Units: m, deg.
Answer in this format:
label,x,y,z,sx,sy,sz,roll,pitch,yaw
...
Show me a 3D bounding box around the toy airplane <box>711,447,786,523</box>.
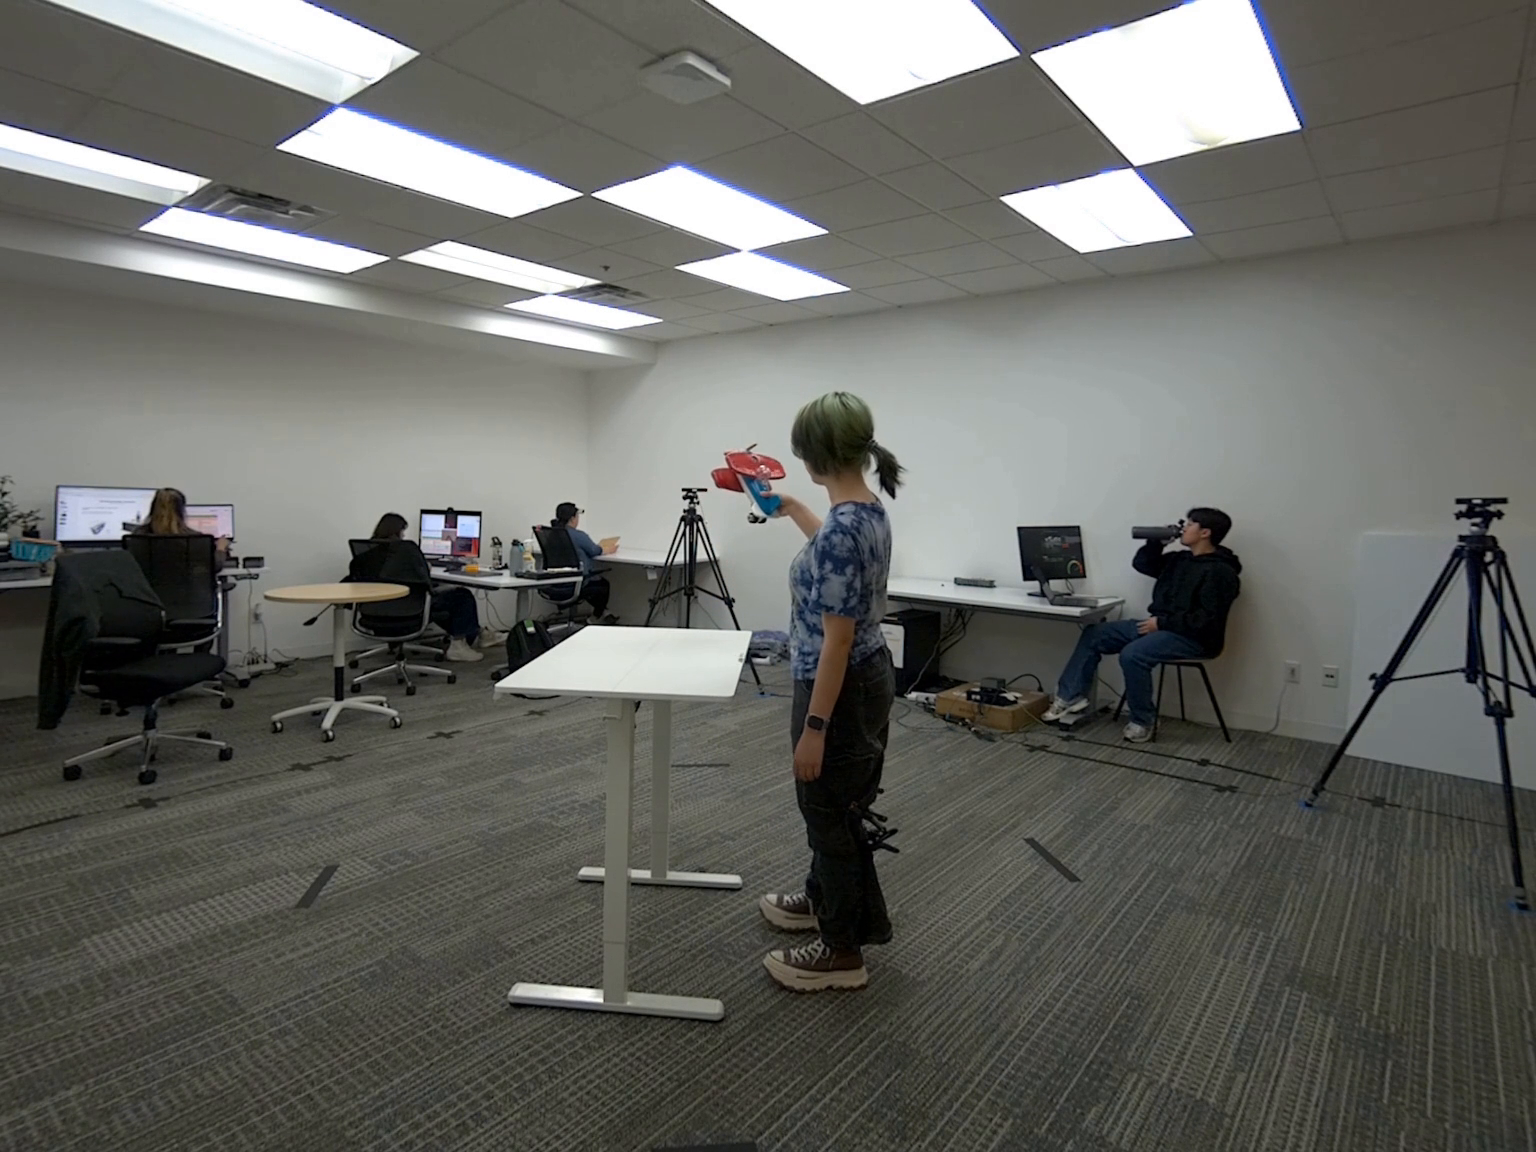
label,x,y,z,sx,sy,sz,roll,pitch,yaw
toy airplane,-0.052,-0.298,2.771,0.263,0.155,0.249,37,28,10
